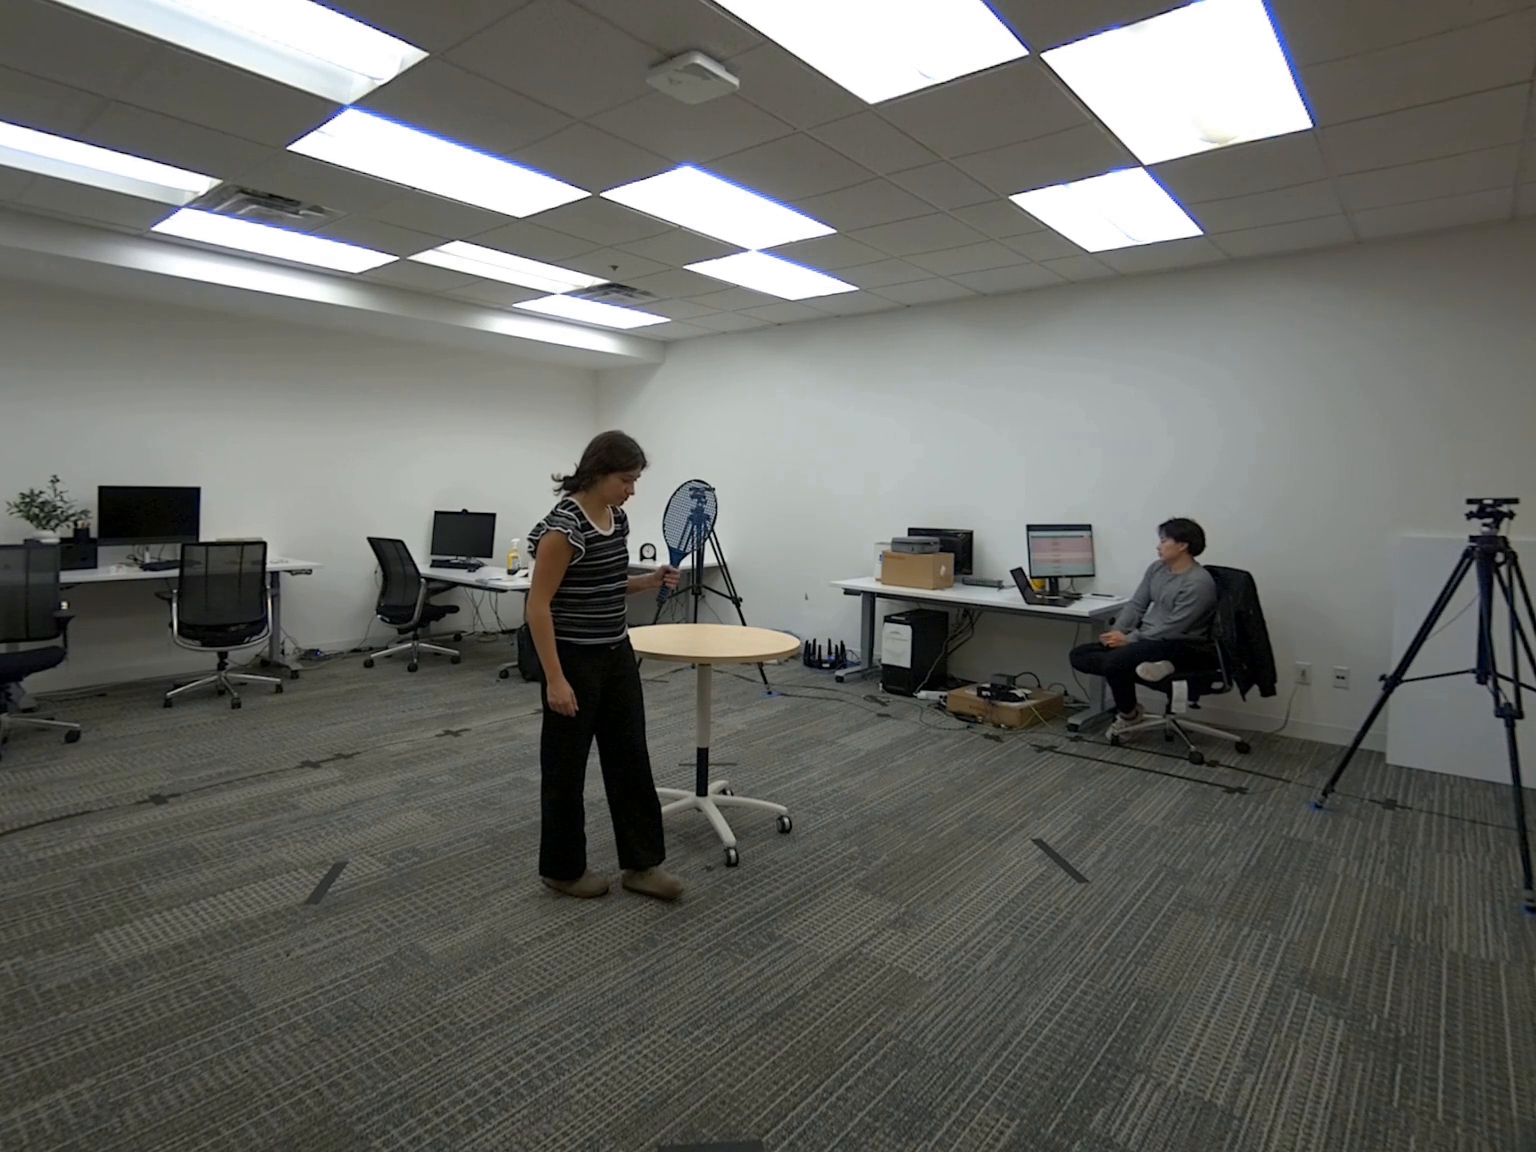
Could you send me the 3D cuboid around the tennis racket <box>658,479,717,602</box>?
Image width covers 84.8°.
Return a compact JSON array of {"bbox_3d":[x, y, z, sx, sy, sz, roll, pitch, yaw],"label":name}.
[{"bbox_3d":[-0.329,-0.131,2.951,0.221,0.433,0.030,18,-2,31],"label":"tennis racket"}]
